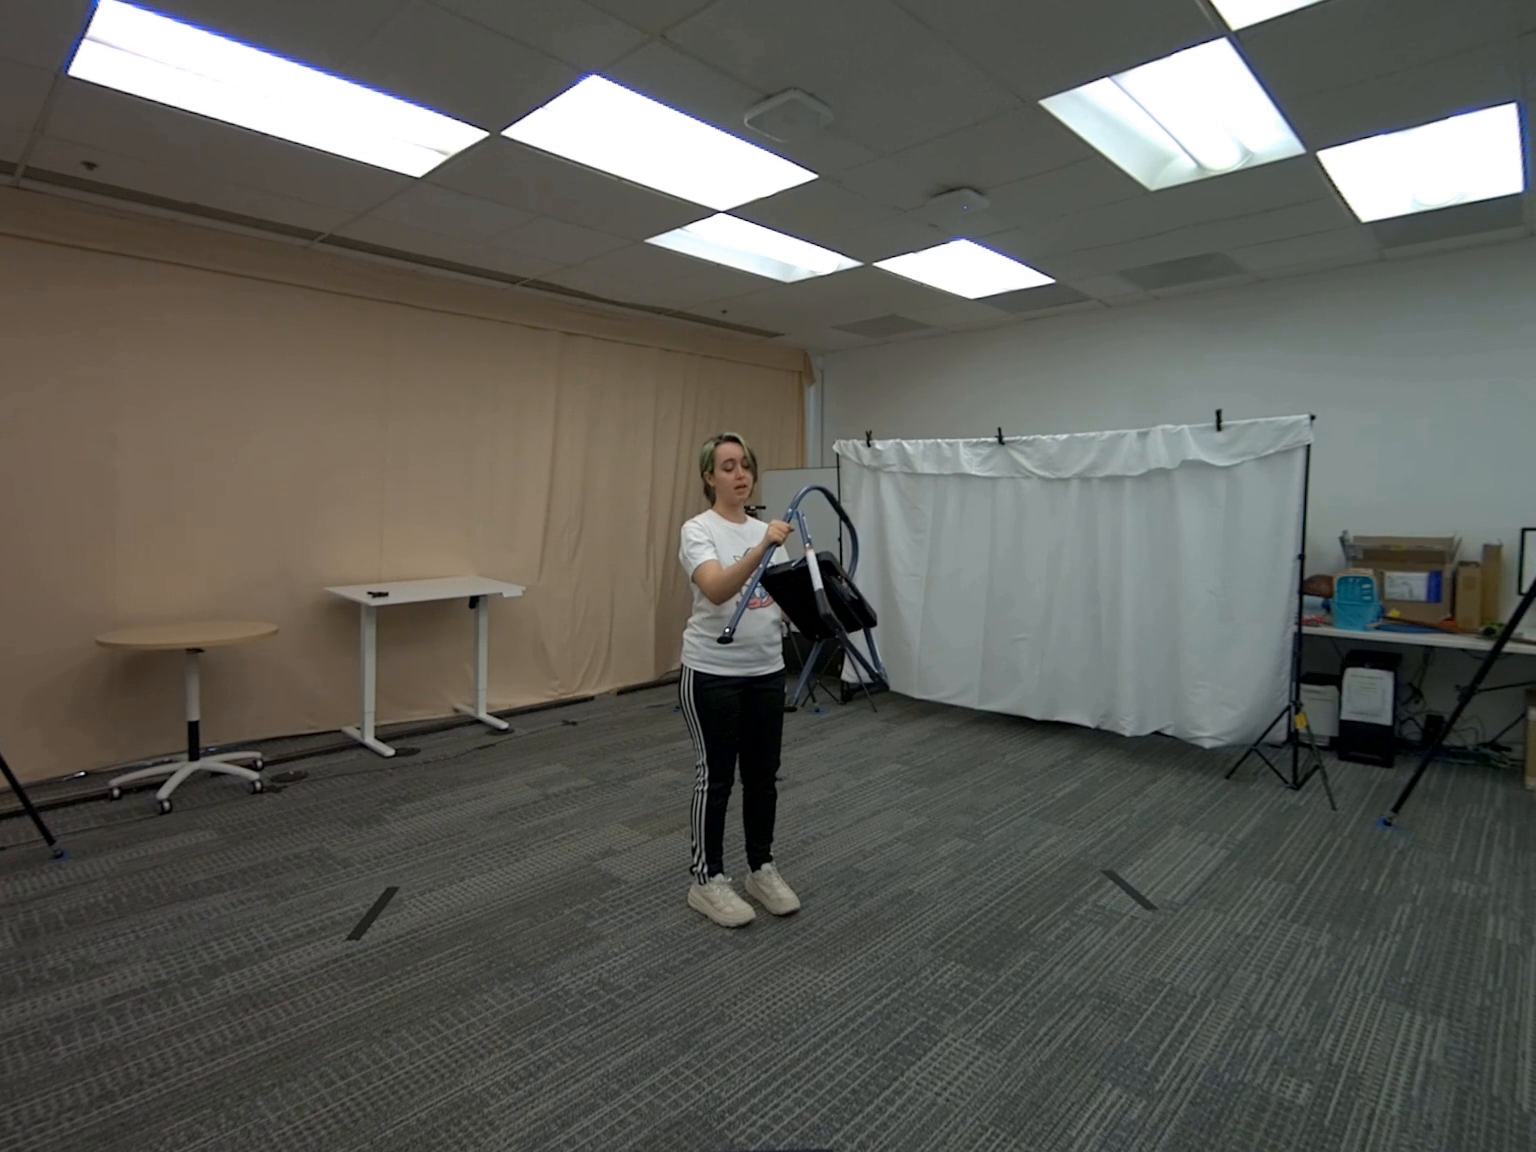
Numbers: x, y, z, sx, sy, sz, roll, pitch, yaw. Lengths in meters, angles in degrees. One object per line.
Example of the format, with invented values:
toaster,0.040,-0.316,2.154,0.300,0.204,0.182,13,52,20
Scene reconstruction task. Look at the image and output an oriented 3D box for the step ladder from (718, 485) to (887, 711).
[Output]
step ladder,0.147,0.029,2.601,0.357,0.614,0.416,-16,-44,27
